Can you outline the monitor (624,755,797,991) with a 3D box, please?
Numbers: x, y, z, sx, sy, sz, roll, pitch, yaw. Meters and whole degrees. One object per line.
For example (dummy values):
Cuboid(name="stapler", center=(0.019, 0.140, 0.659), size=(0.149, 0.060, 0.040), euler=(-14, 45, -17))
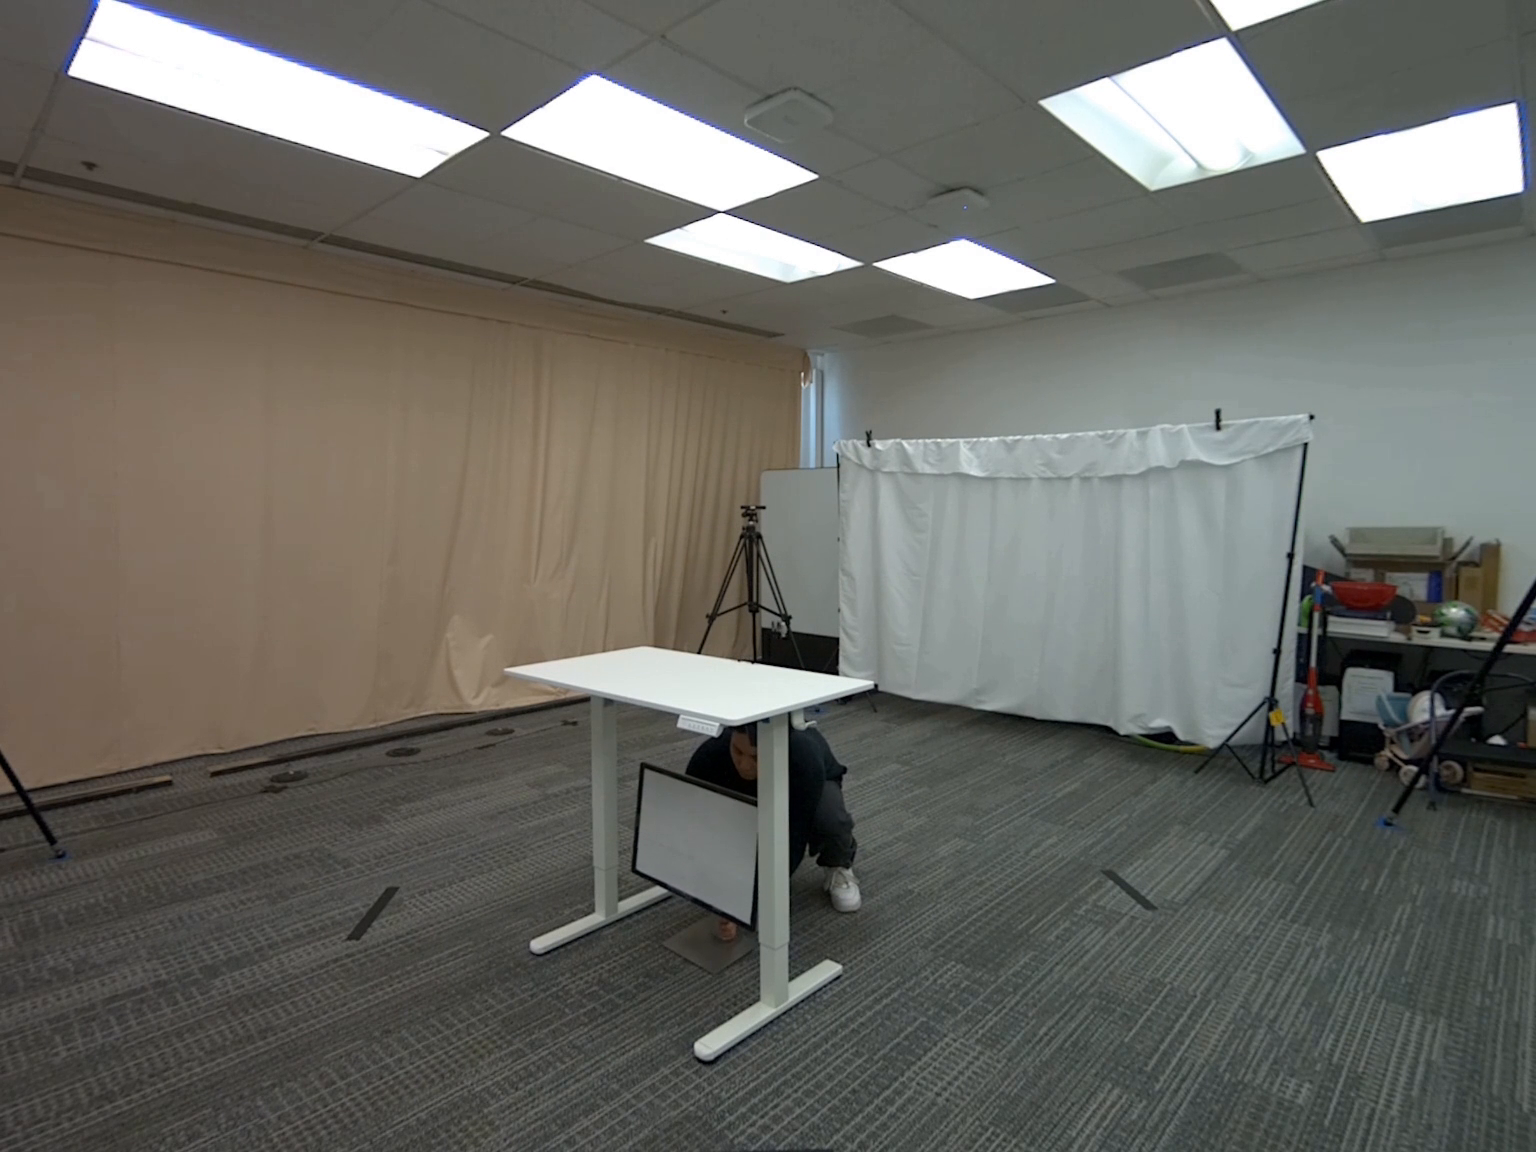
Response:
Cuboid(name="monitor", center=(-0.190, 0.890, 2.626), size=(0.170, 0.512, 0.548), euler=(-13, 13, -42))
